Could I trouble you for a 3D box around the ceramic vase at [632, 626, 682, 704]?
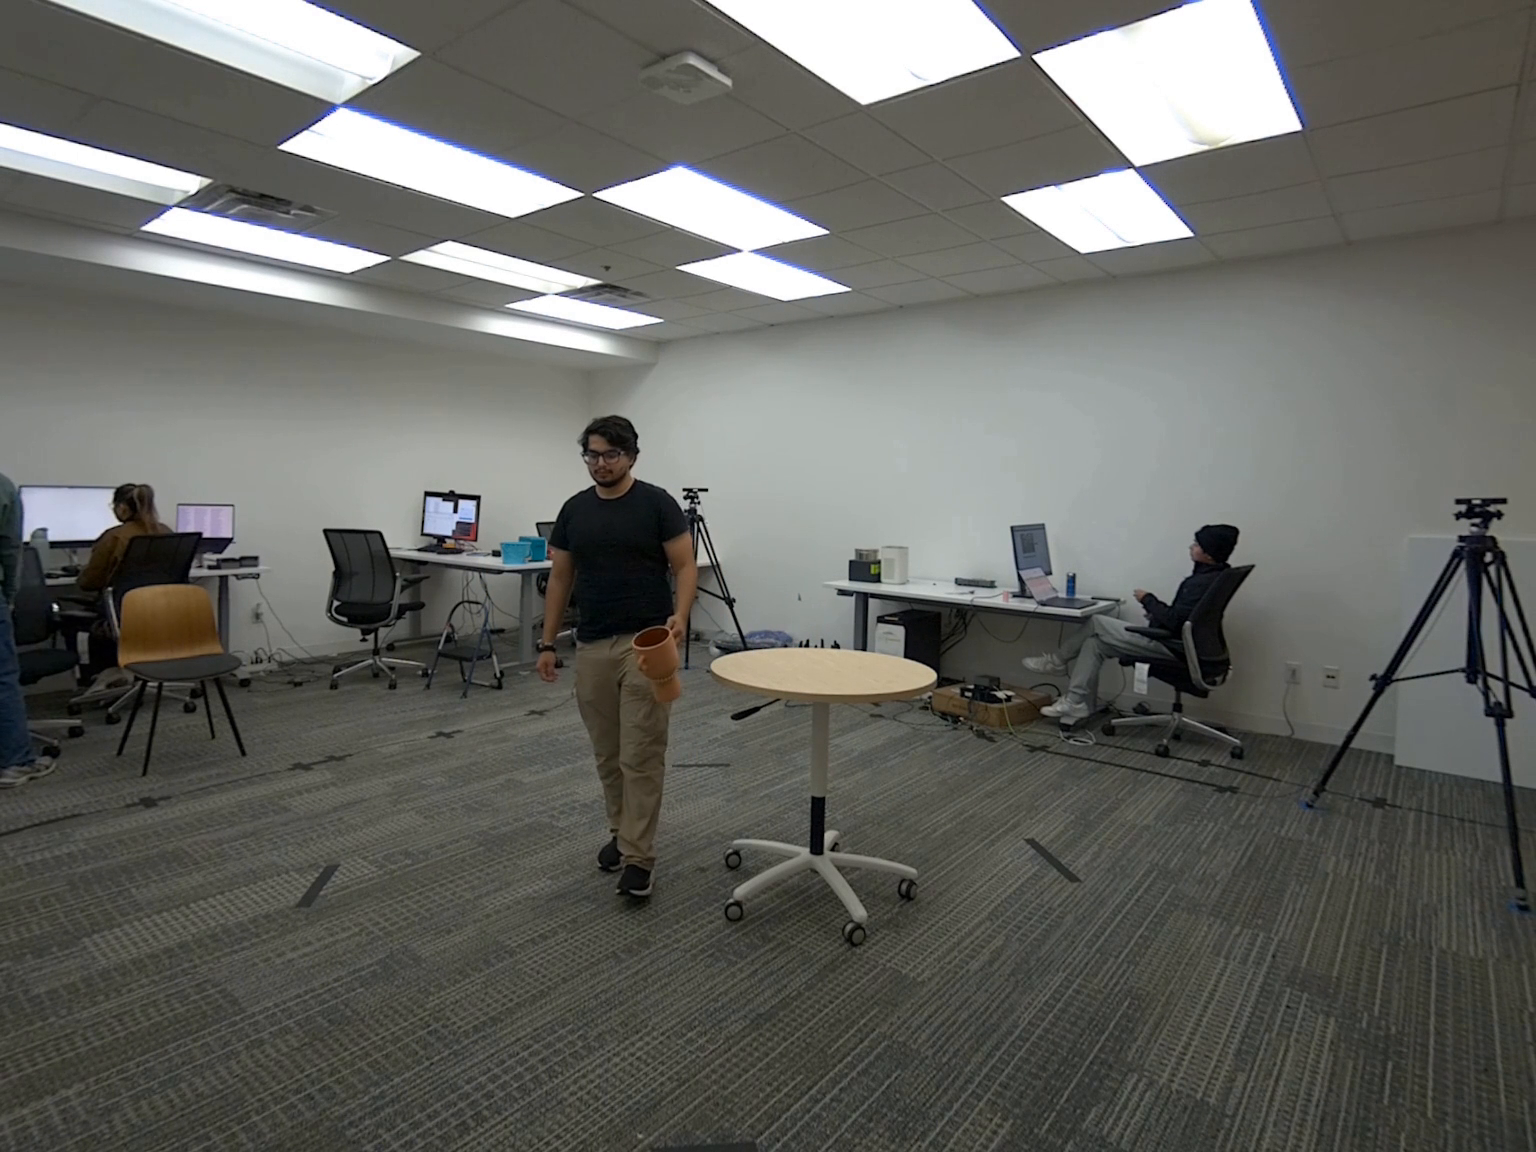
[{"bbox_3d":[-0.355,0.284,2.753,0.157,0.214,0.139,-22,25,-18],"label":"ceramic vase"}]
